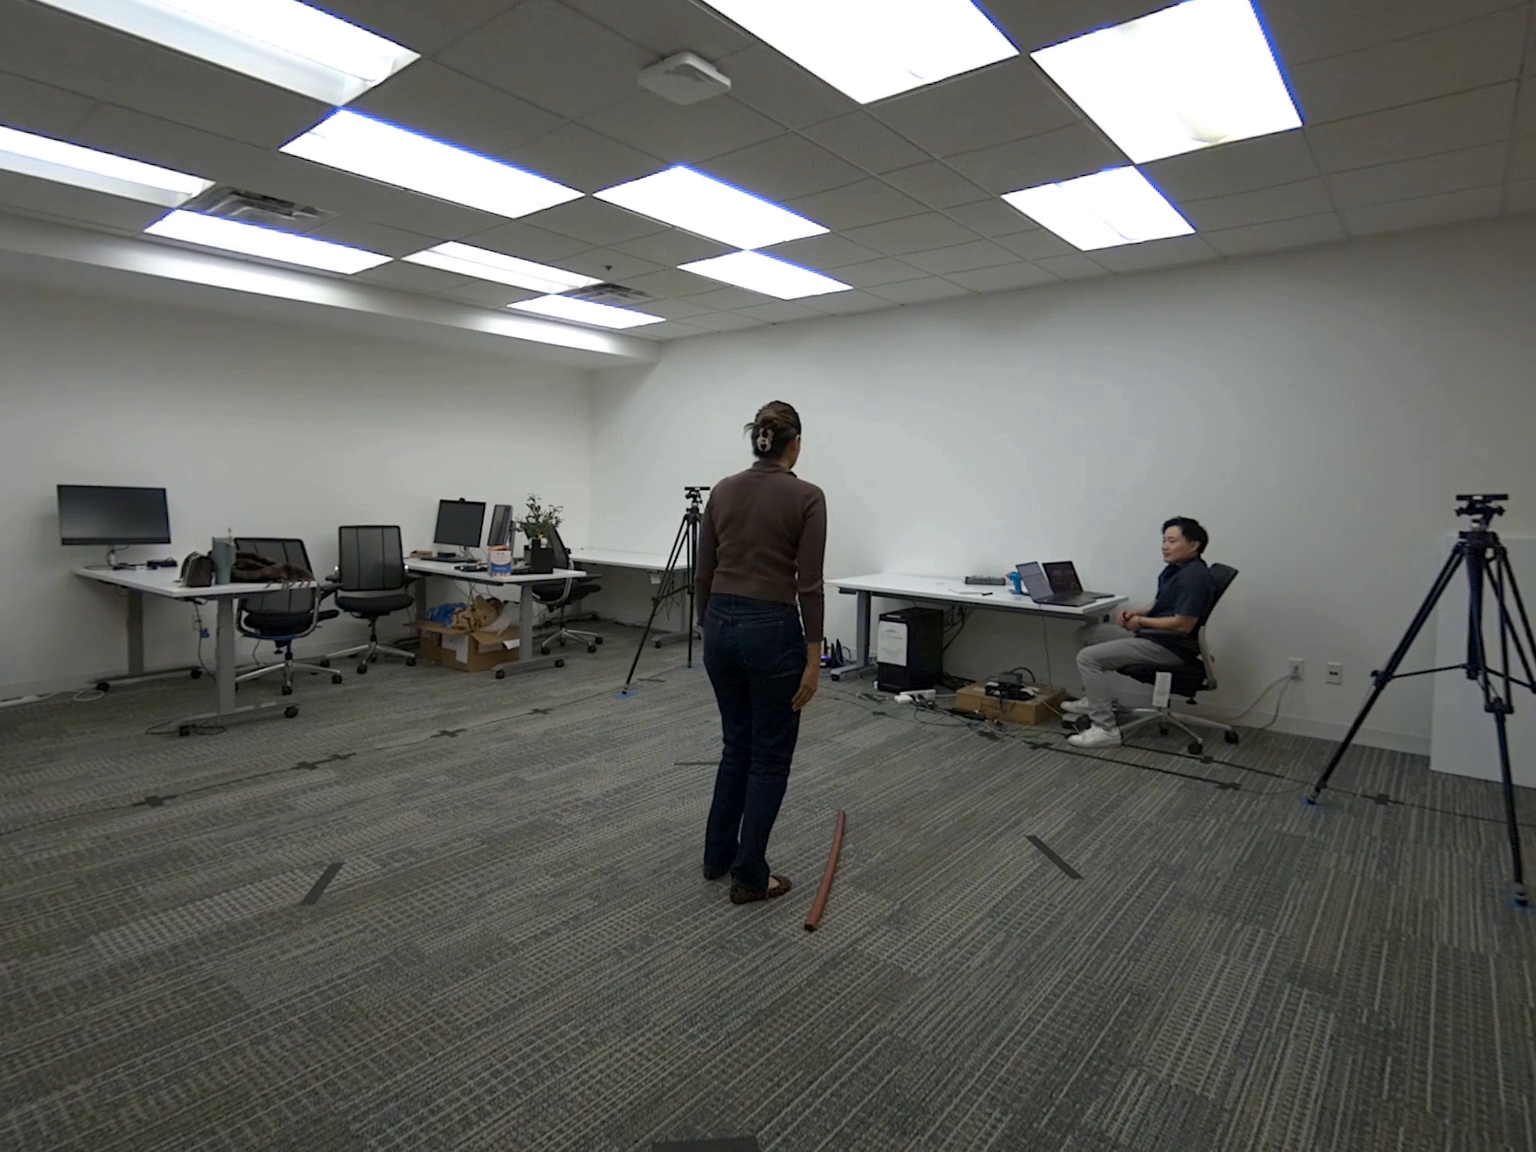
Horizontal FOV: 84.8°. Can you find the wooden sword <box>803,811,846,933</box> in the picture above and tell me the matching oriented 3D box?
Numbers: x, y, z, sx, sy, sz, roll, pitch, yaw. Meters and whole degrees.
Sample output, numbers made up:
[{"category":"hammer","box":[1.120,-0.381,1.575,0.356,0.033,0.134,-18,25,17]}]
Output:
[{"category":"wooden sword","box":[0.219,1.040,3.154,0.024,0.051,1.015,21,8,8]}]
